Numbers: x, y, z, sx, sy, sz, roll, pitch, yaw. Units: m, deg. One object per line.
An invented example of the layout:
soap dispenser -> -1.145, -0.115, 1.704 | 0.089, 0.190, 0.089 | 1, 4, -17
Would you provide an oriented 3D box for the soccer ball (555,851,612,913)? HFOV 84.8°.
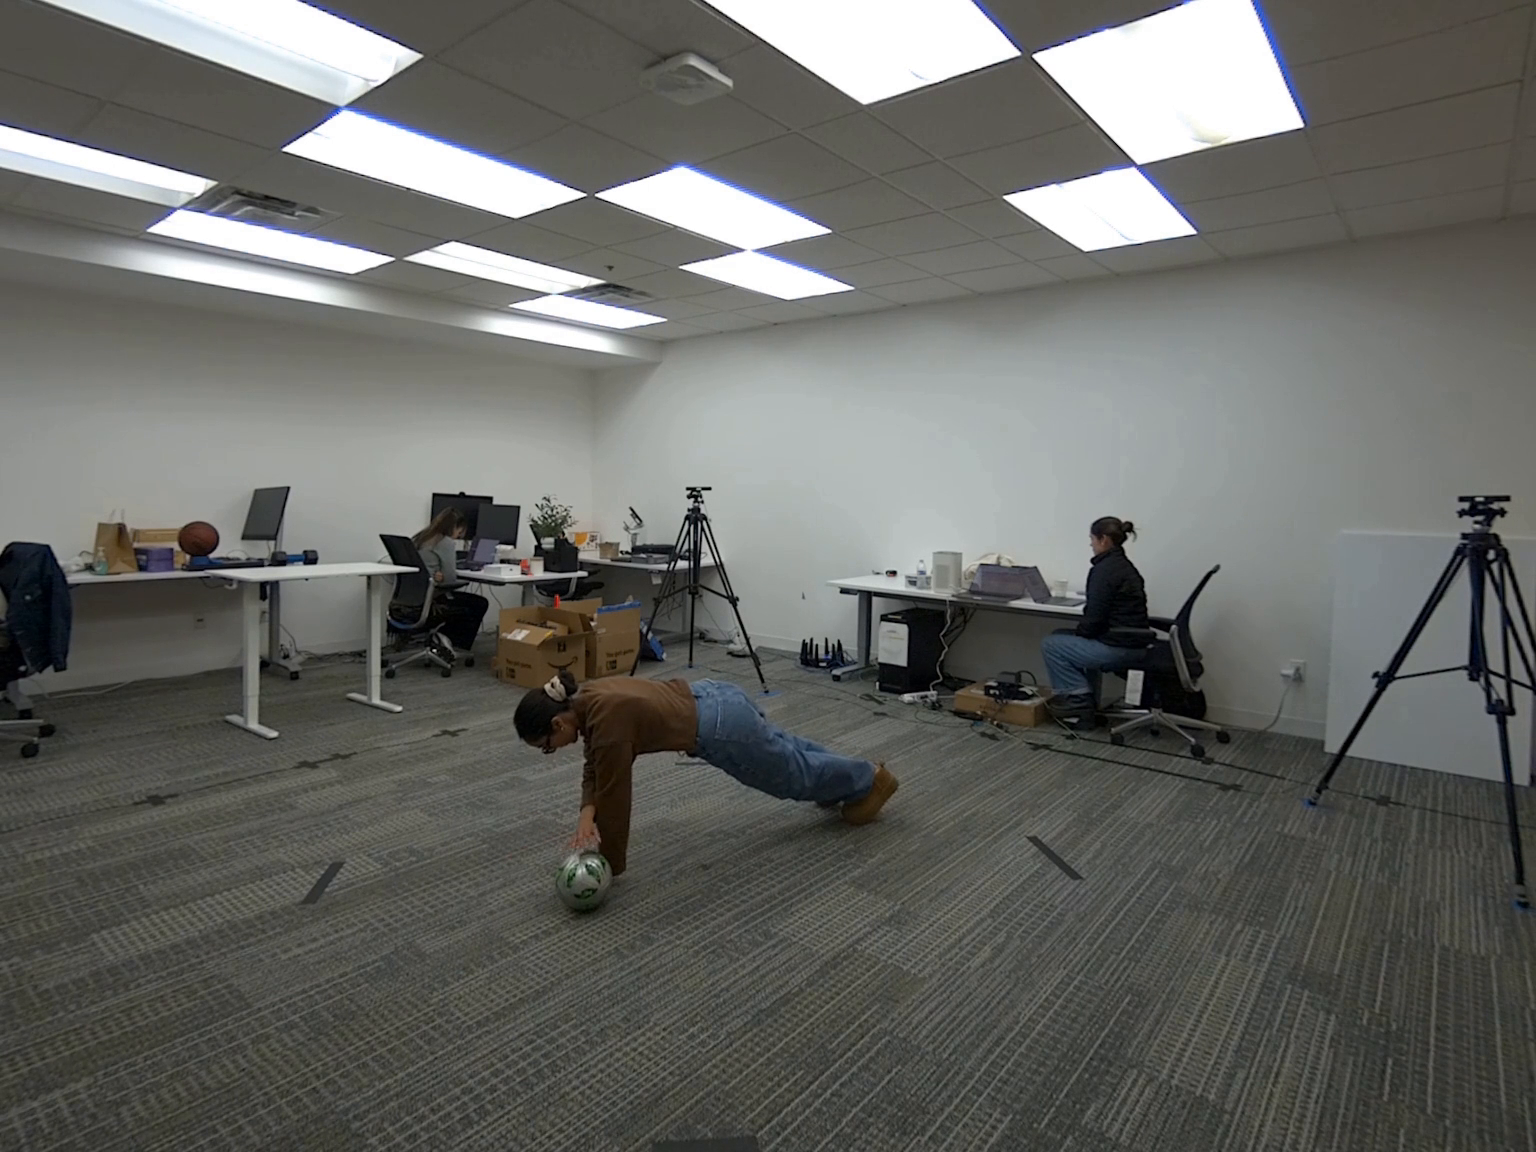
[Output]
soccer ball -> -0.620, 0.999, 2.803 | 0.187, 0.187, 0.188 | 1, 4, -2
